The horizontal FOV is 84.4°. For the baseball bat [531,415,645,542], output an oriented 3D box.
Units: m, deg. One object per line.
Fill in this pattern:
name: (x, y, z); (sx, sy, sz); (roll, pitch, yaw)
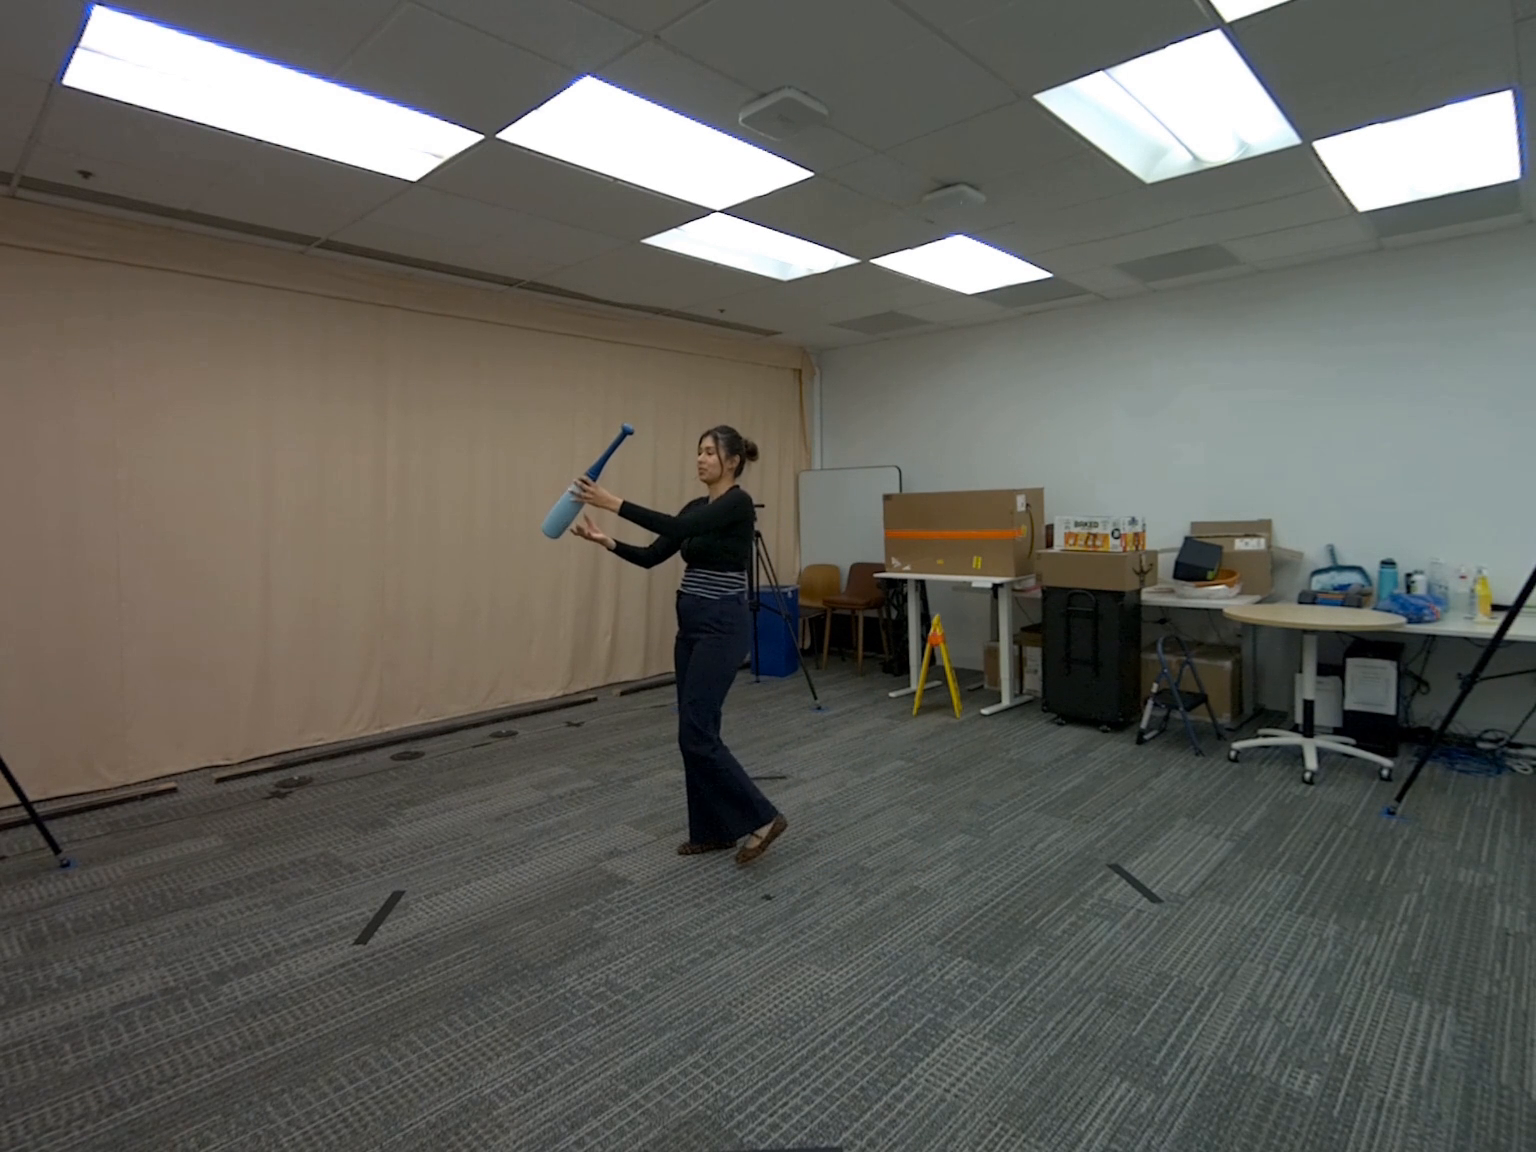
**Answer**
baseball bat: (-0.661, -0.349, 3.073); (0.546, 0.091, 0.087); (-46, -17, 23)
